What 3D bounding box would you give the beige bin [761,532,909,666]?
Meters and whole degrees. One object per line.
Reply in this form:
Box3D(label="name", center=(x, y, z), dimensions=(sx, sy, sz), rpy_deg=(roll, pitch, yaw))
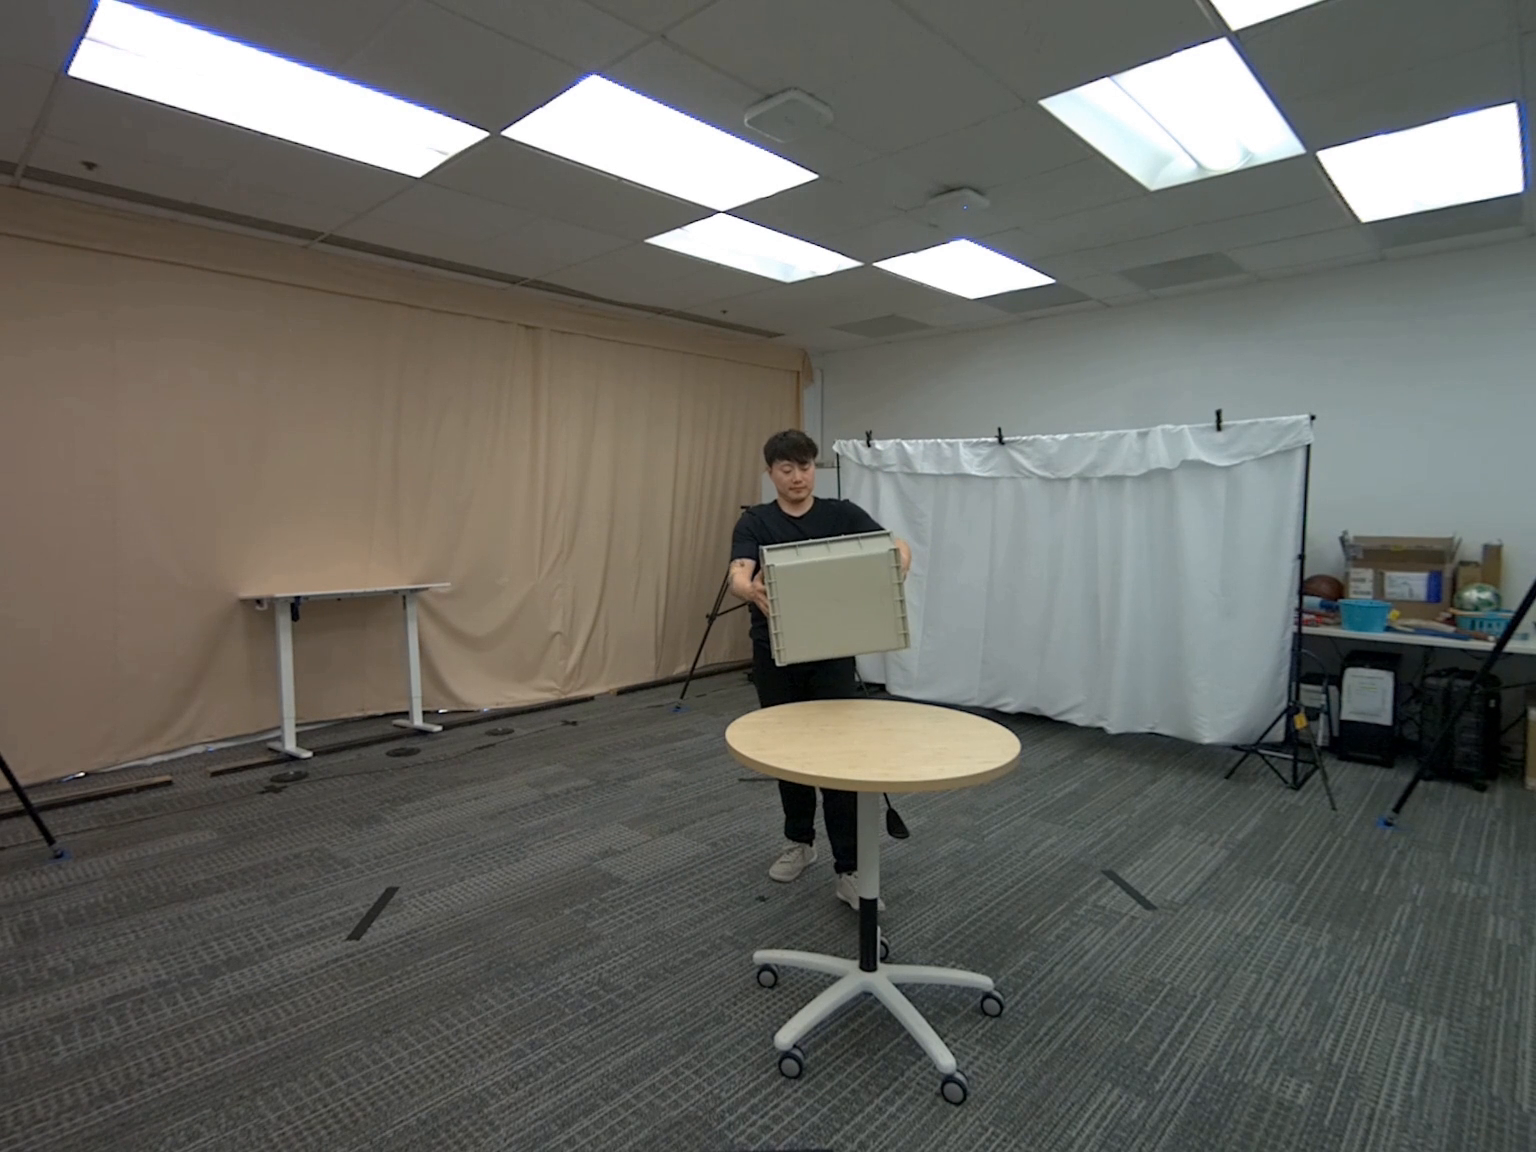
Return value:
Box3D(label="beige bin", center=(0.210, 0.060, 2.620), dimensions=(0.422, 0.376, 0.189), rpy_deg=(-5, 3, 0))
